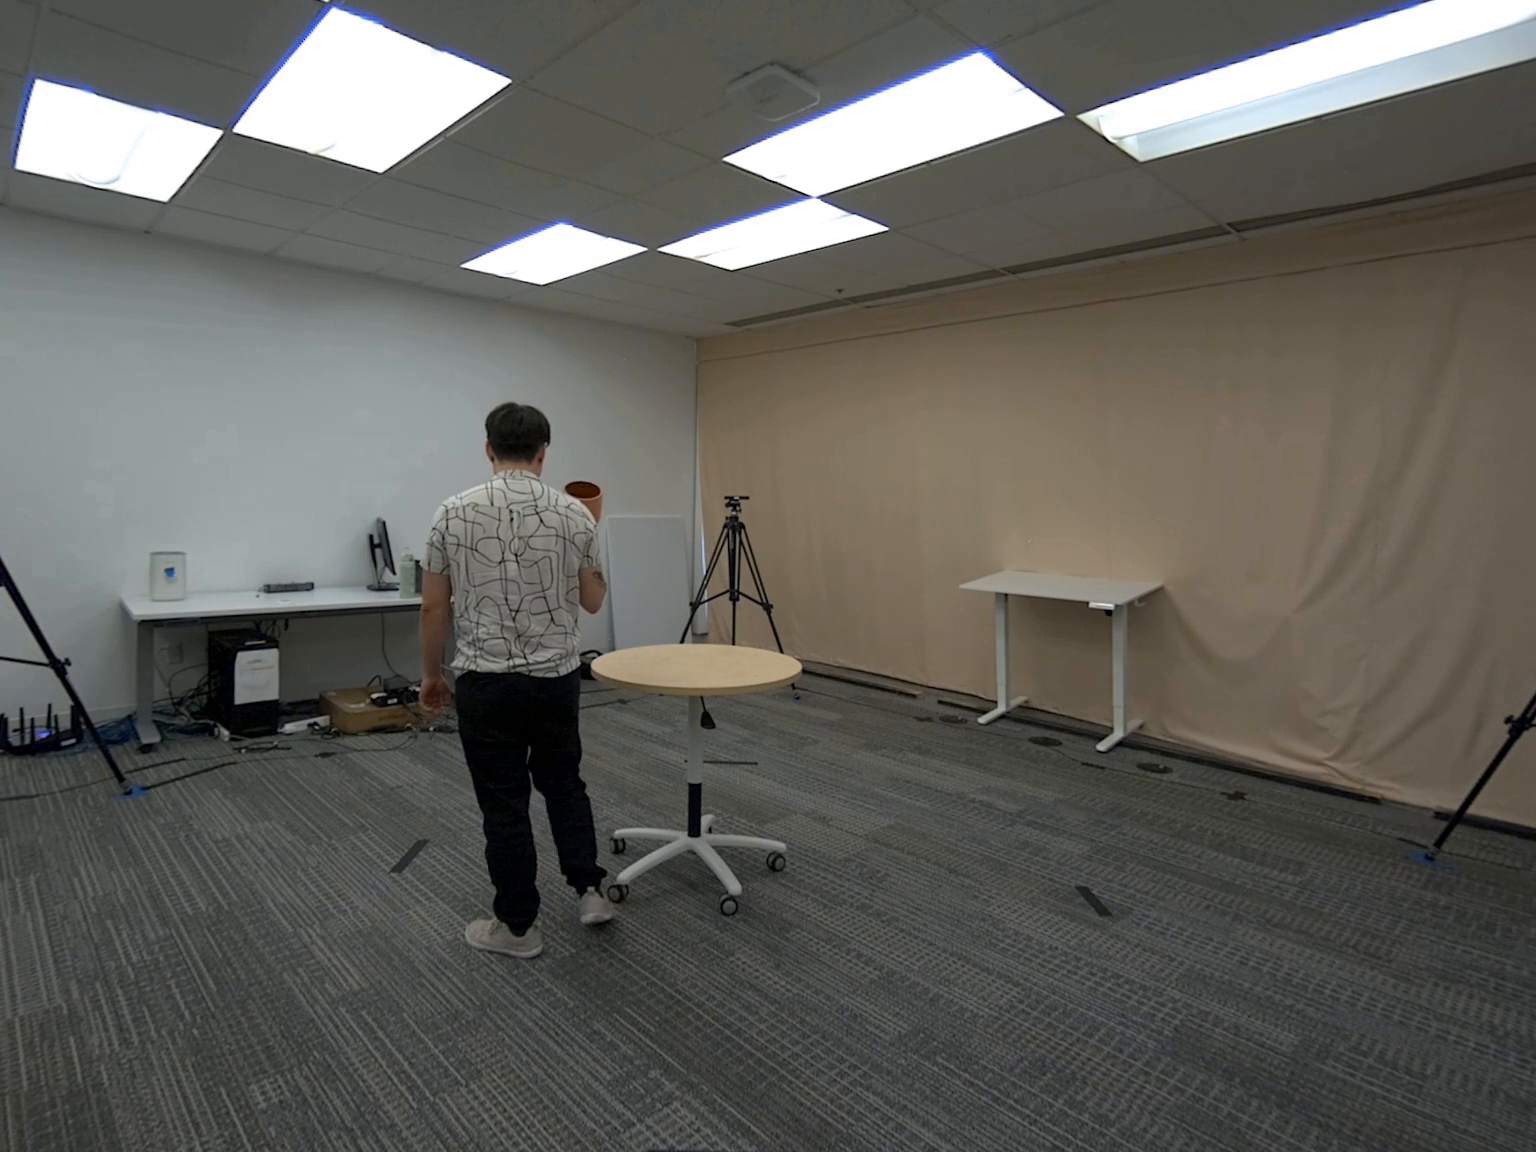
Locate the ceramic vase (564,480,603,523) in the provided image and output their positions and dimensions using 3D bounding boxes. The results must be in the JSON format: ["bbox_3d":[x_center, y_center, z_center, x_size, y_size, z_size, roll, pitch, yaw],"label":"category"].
[{"bbox_3d":[-0.644,-0.196,2.844,0.137,0.217,0.158,25,32,19],"label":"ceramic vase"}]
